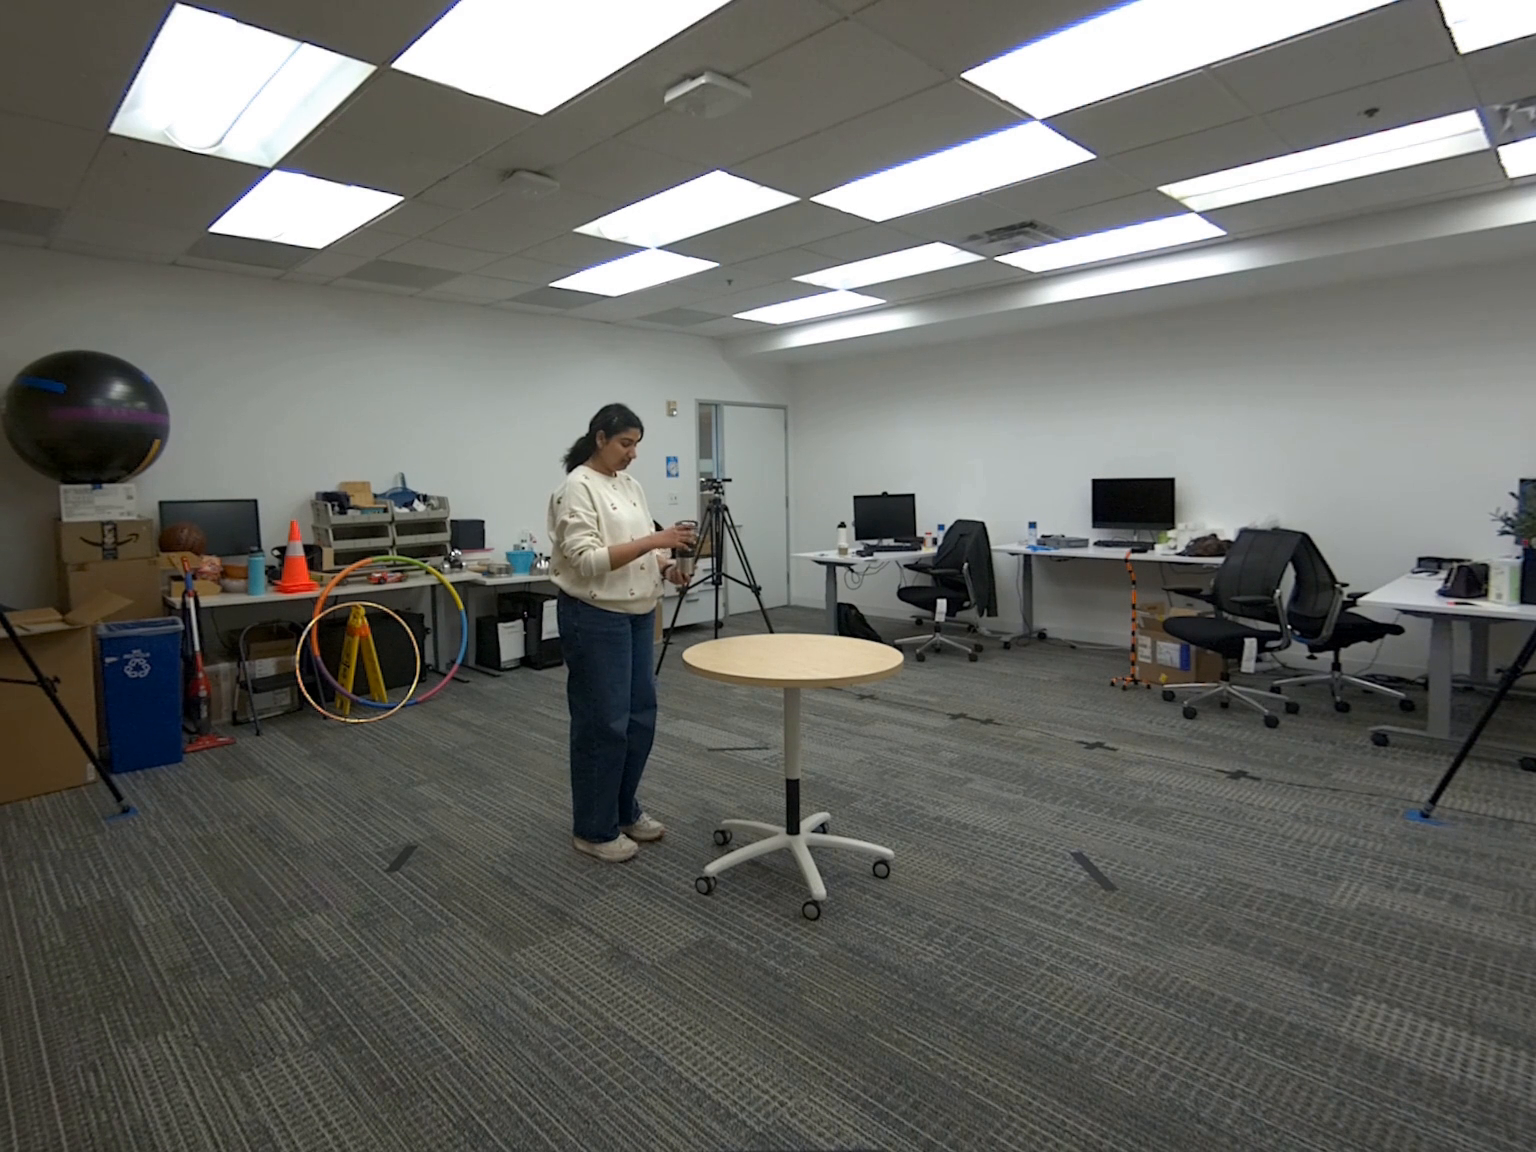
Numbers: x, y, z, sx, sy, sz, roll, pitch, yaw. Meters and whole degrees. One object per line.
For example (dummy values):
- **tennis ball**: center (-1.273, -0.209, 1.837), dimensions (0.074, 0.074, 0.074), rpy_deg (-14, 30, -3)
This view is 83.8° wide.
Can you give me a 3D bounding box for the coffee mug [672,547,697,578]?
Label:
- **coffee mug**: center (-0.290, -0.100, 3.183), dimensions (0.119, 0.202, 0.090), rpy_deg (-2, 6, -23)
